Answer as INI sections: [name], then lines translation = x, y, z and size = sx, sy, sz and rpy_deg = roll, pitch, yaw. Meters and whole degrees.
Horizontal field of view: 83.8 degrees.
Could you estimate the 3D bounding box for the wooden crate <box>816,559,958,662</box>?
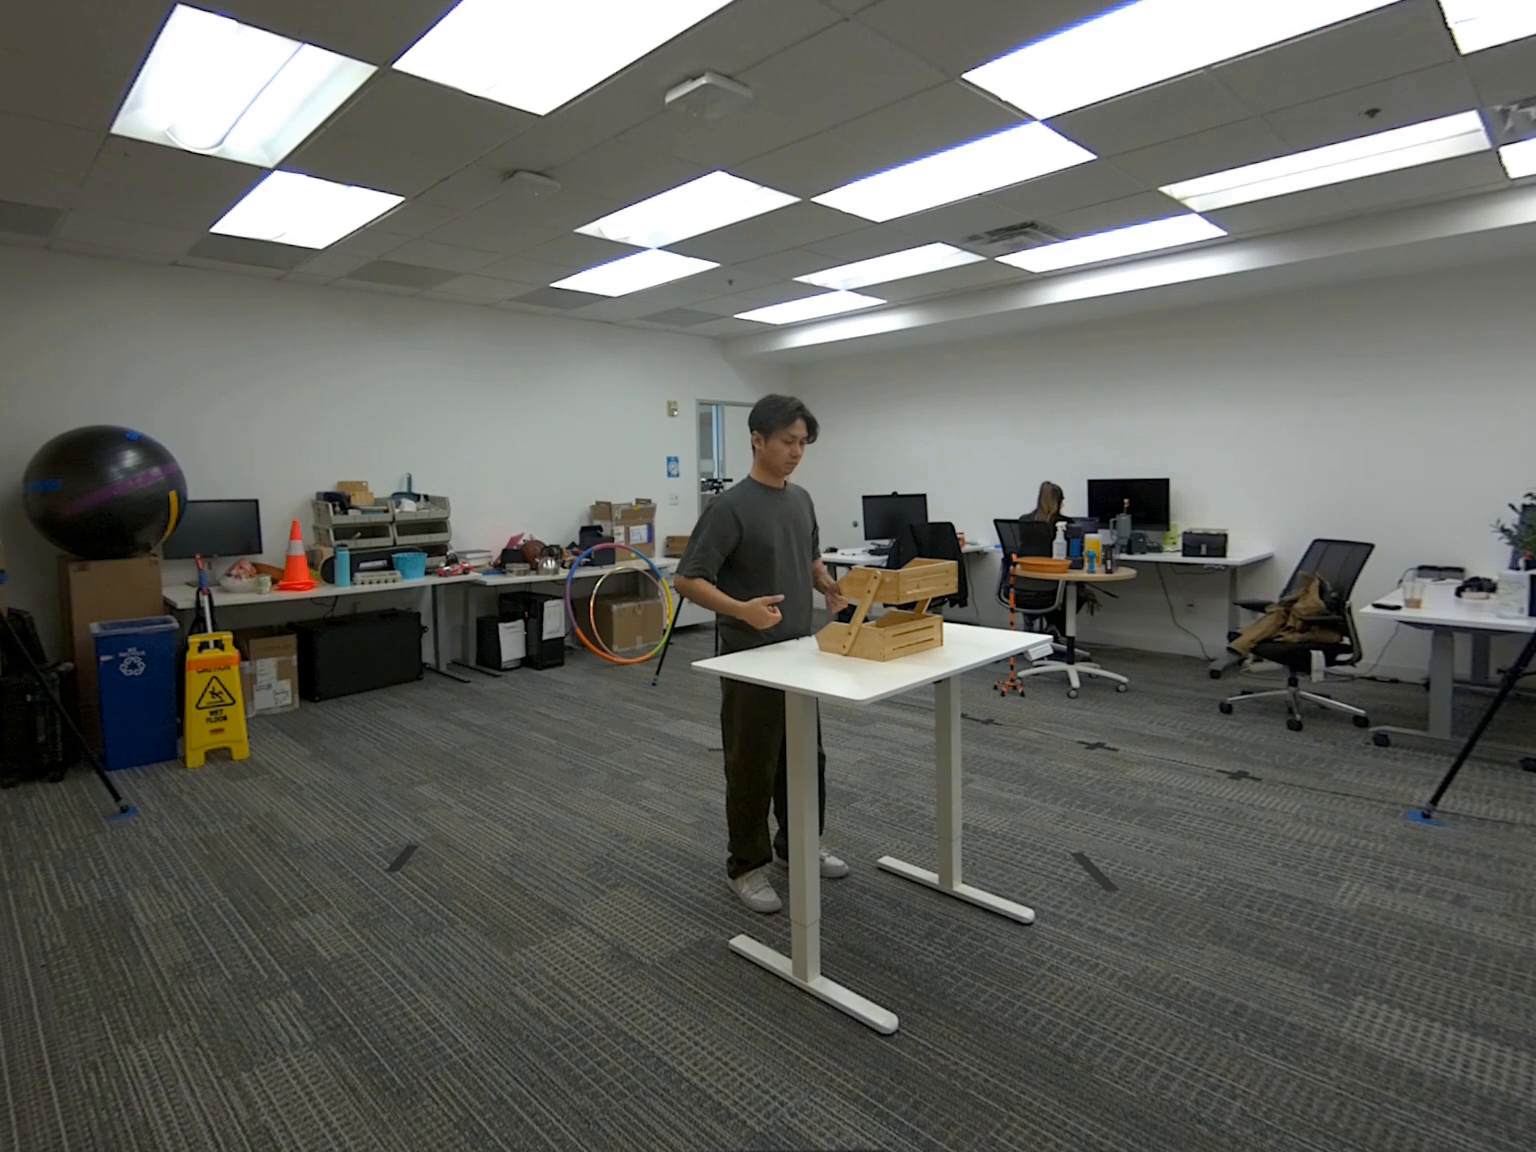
[wooden crate]
translation = 0.354, 0.086, 2.543
size = 0.316, 0.272, 0.311
rpy_deg = -7, 8, -44
